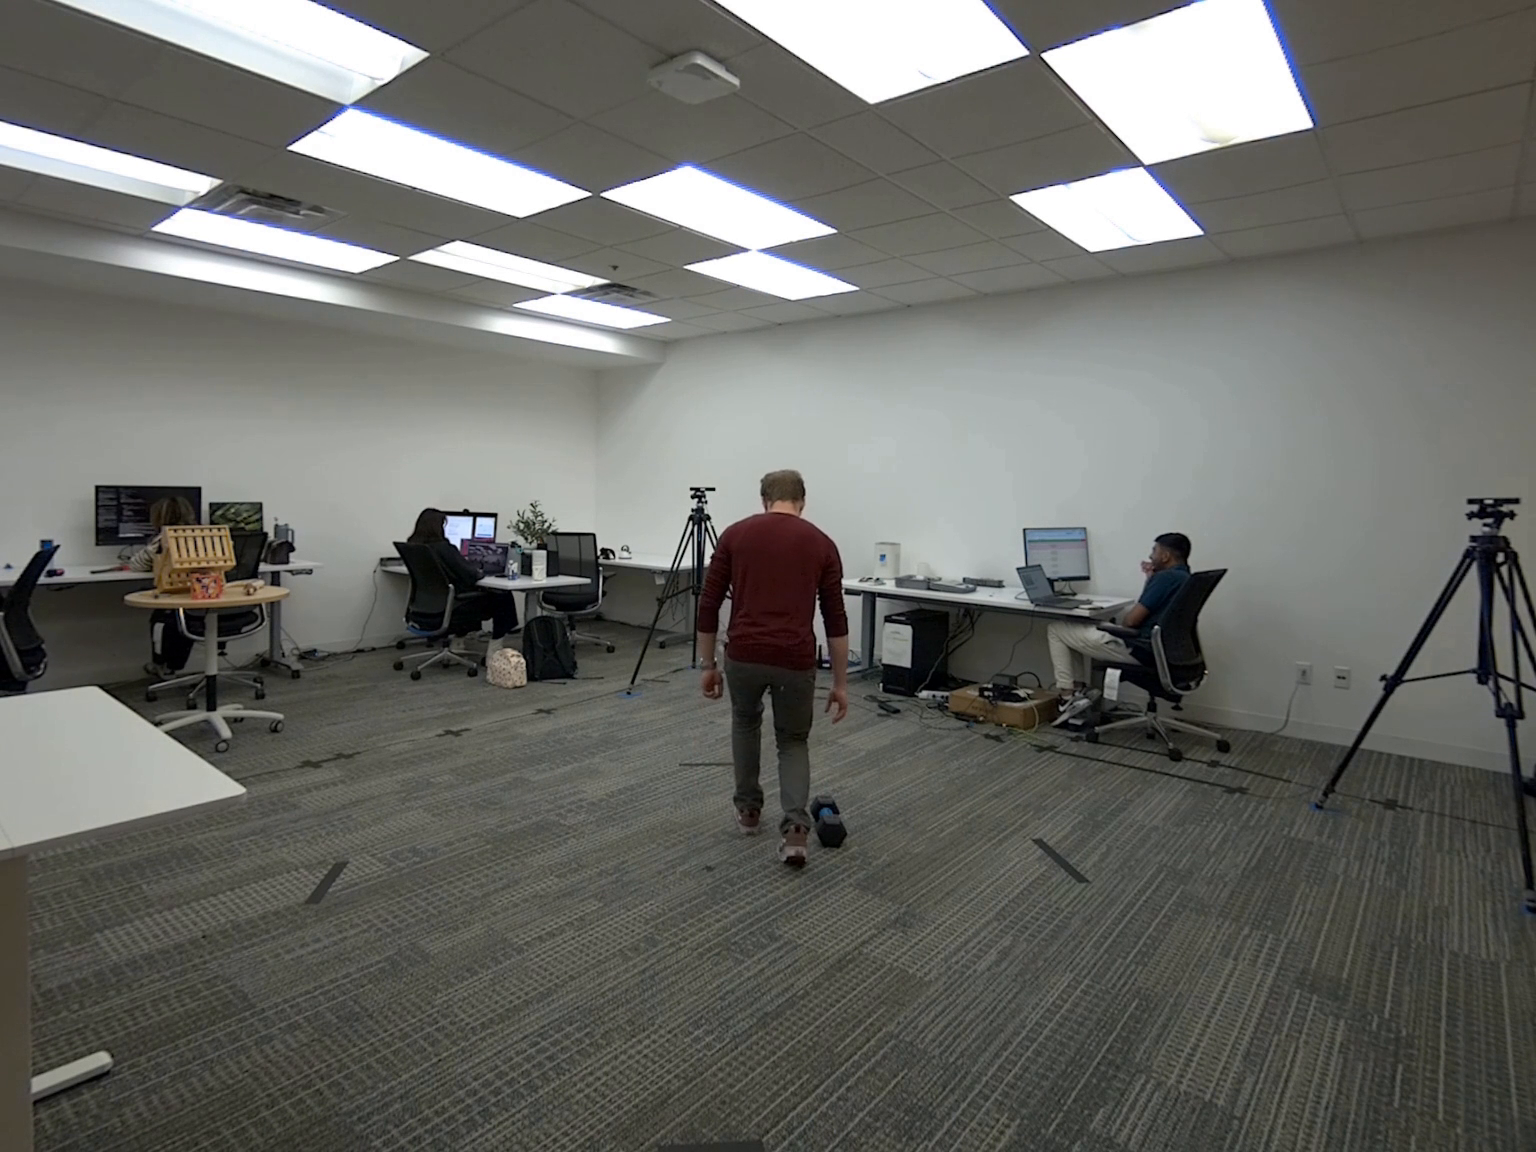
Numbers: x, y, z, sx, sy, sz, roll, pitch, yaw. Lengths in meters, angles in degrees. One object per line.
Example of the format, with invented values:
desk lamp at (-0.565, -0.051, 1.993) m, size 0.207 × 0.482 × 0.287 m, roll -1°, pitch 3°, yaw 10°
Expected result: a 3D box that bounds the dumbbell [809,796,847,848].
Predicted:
dumbbell at (0.237, 0.990, 3.456) m, size 0.109 × 0.122 × 0.295 m, roll -30°, pitch 6°, yaw 1°
